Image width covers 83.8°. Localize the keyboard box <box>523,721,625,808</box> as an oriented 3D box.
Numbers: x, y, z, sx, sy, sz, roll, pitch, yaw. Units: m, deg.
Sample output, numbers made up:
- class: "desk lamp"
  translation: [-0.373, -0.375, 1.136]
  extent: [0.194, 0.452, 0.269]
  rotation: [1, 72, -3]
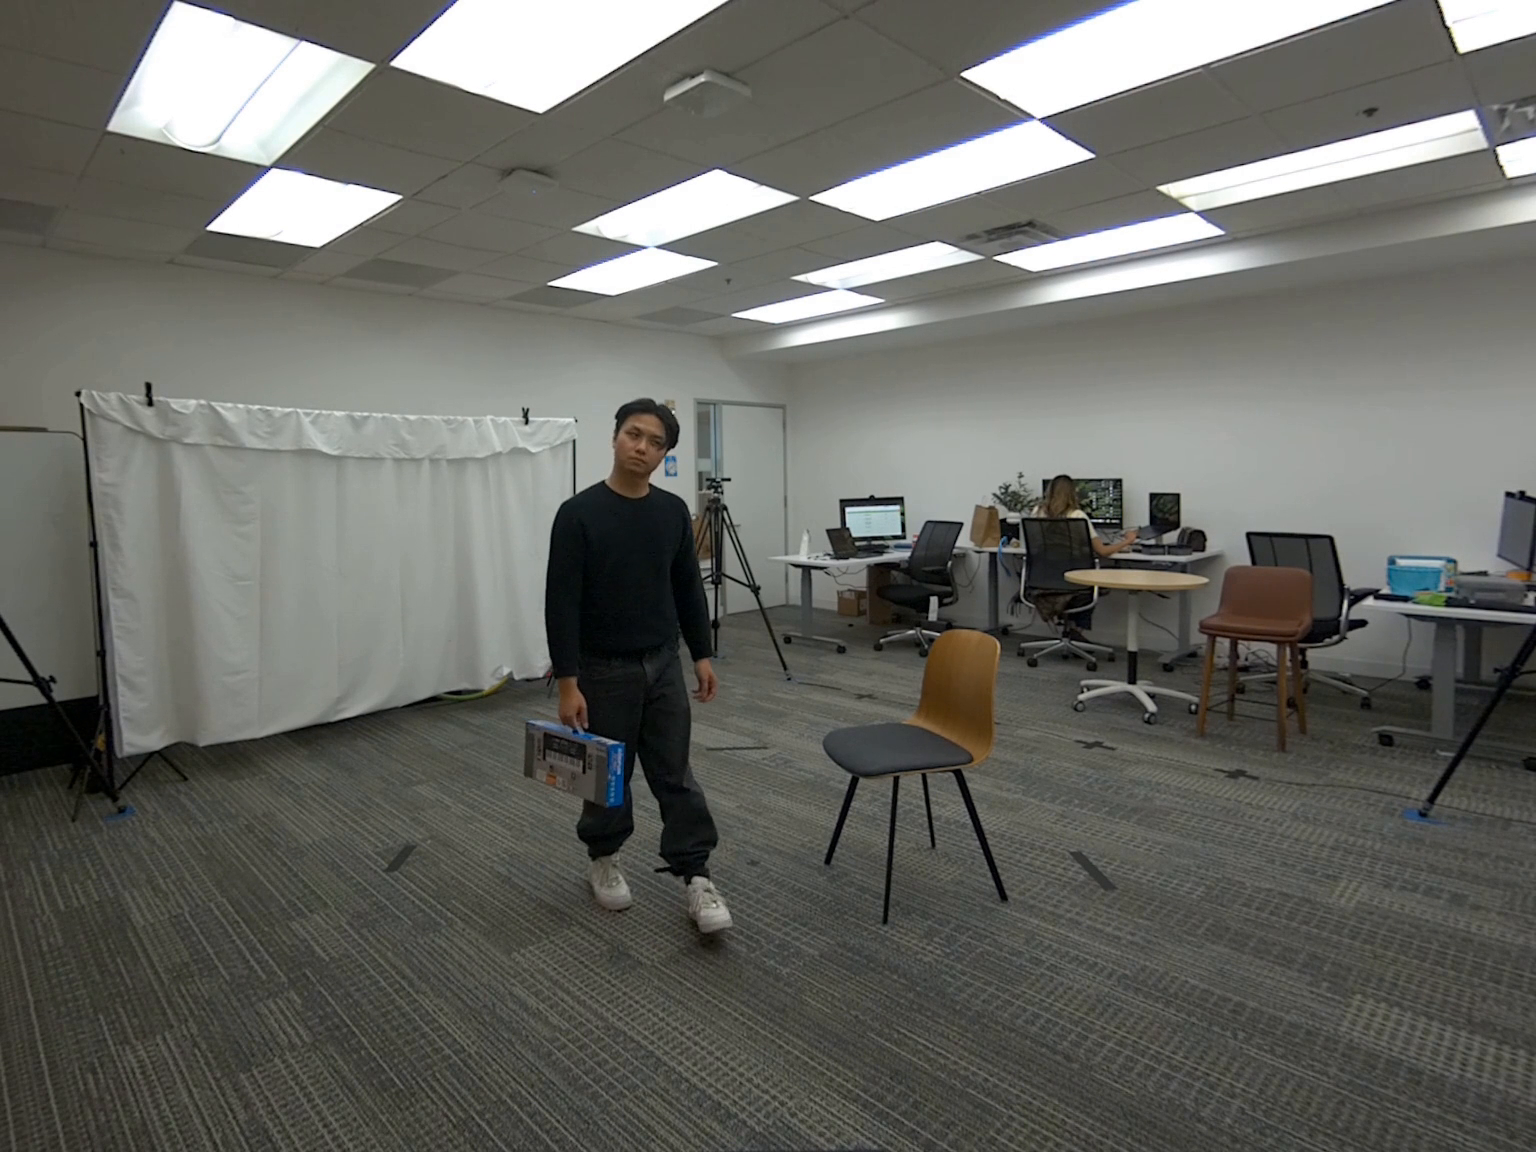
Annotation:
- class: "keyboard box"
  translation: [-0.584, 0.554, 2.543]
  extent: [0.450, 0.176, 0.057]
  rotation: [3, 0, 45]
